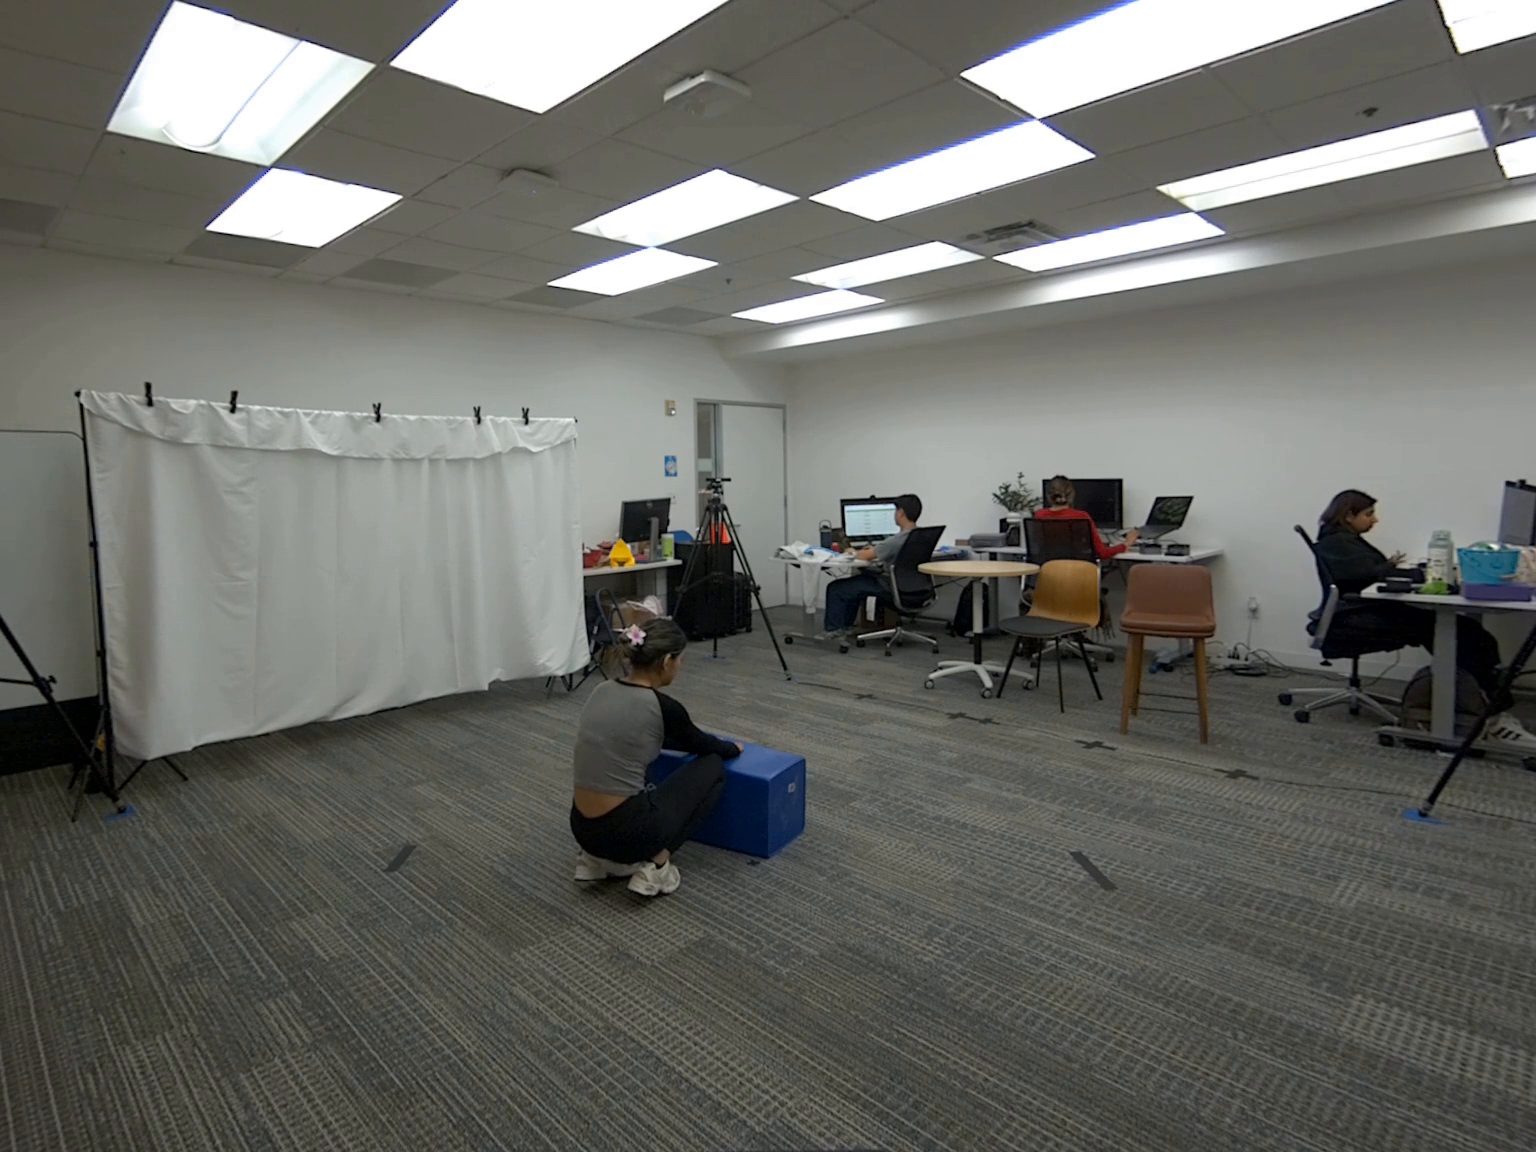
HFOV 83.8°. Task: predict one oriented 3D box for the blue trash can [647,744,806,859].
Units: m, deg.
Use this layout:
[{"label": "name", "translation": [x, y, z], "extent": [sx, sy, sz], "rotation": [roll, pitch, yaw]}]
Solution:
[{"label": "blue trash can", "translation": [-0.236, 0.842, 3.425], "extent": [0.734, 0.376, 0.365], "rotation": [6, 7, 31]}]
